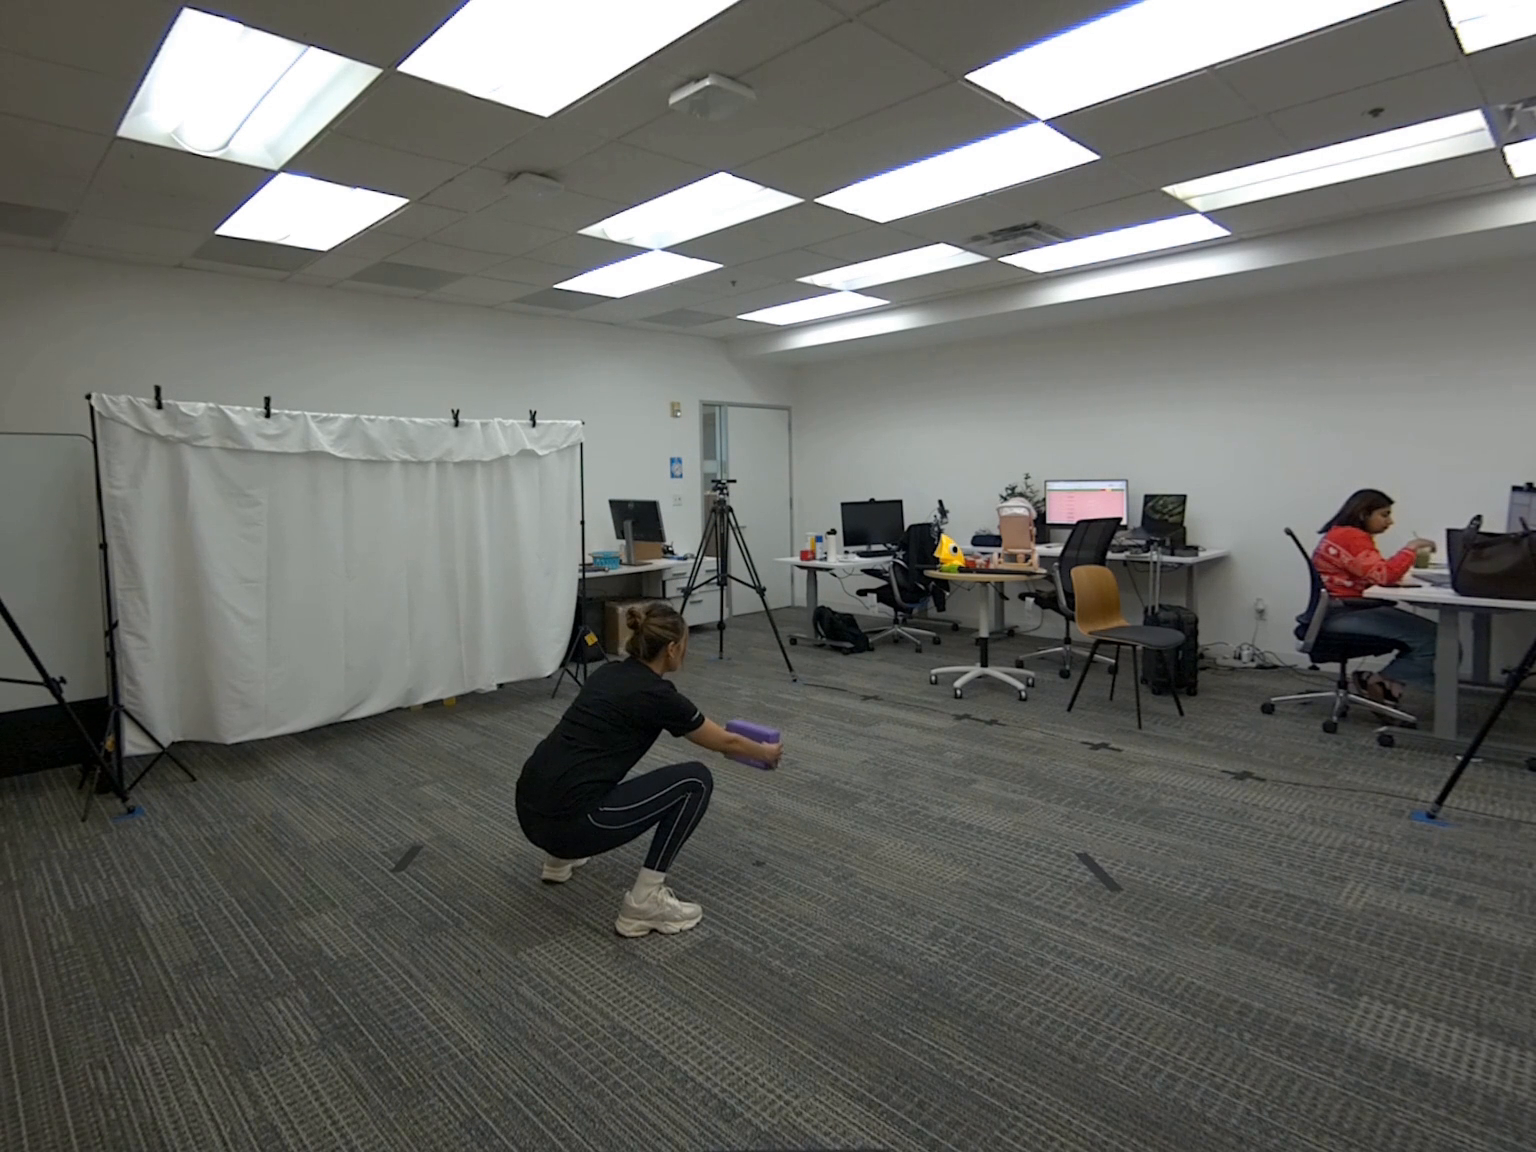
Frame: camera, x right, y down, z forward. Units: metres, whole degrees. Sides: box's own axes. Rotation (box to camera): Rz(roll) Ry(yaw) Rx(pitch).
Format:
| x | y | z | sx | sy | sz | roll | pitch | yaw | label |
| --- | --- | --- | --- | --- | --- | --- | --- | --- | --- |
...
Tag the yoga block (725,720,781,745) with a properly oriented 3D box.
| x | y | z | sx | sy | sz | roll | pitch | yaw | label |
| --- | --- | --- | --- | --- | --- | --- | --- | --- | --- |
| -0.061 | 0.658 | 3.346 | 0.074 | 0.149 | 0.236 | 4 | 0 | -45 | yoga block |
